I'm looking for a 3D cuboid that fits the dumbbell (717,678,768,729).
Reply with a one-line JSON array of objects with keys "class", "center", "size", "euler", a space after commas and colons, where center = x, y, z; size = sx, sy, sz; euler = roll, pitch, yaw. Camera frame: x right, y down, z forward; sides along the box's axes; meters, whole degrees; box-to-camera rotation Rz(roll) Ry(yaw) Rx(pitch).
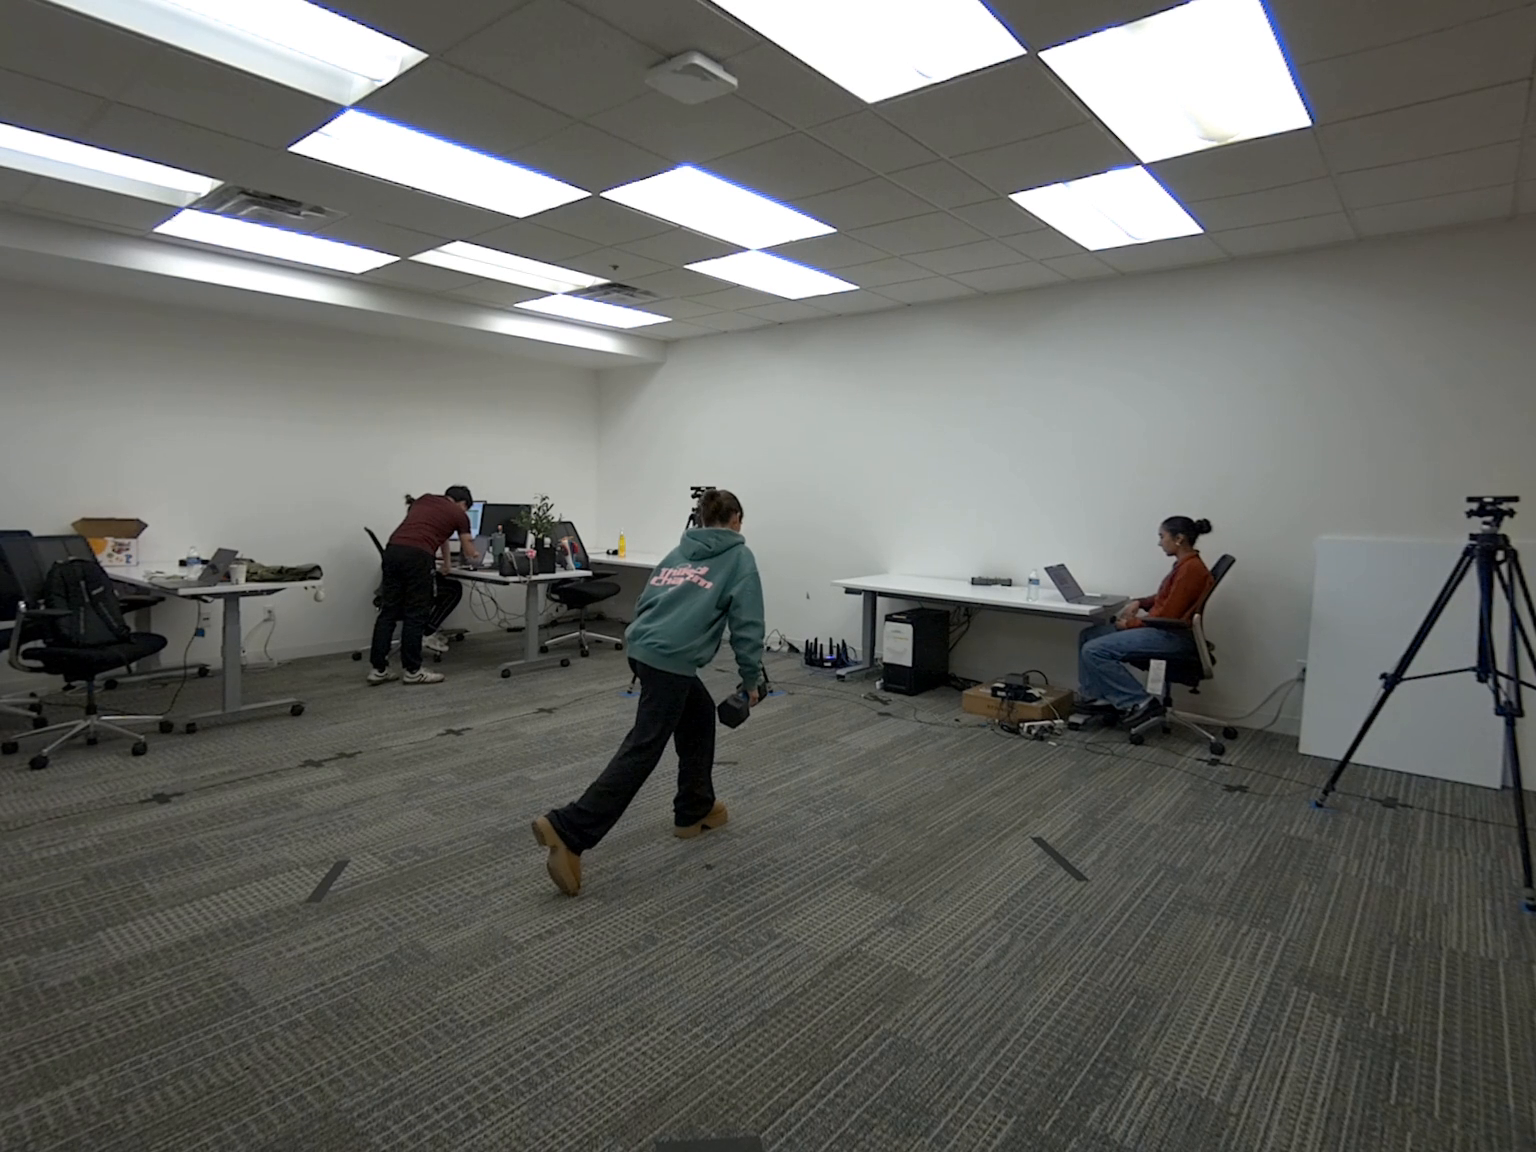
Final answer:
[{"class": "dumbbell", "center": [-0.110, 0.492, 3.344], "size": [0.123, 0.109, 0.291], "euler": [-39, -1, 25]}]
